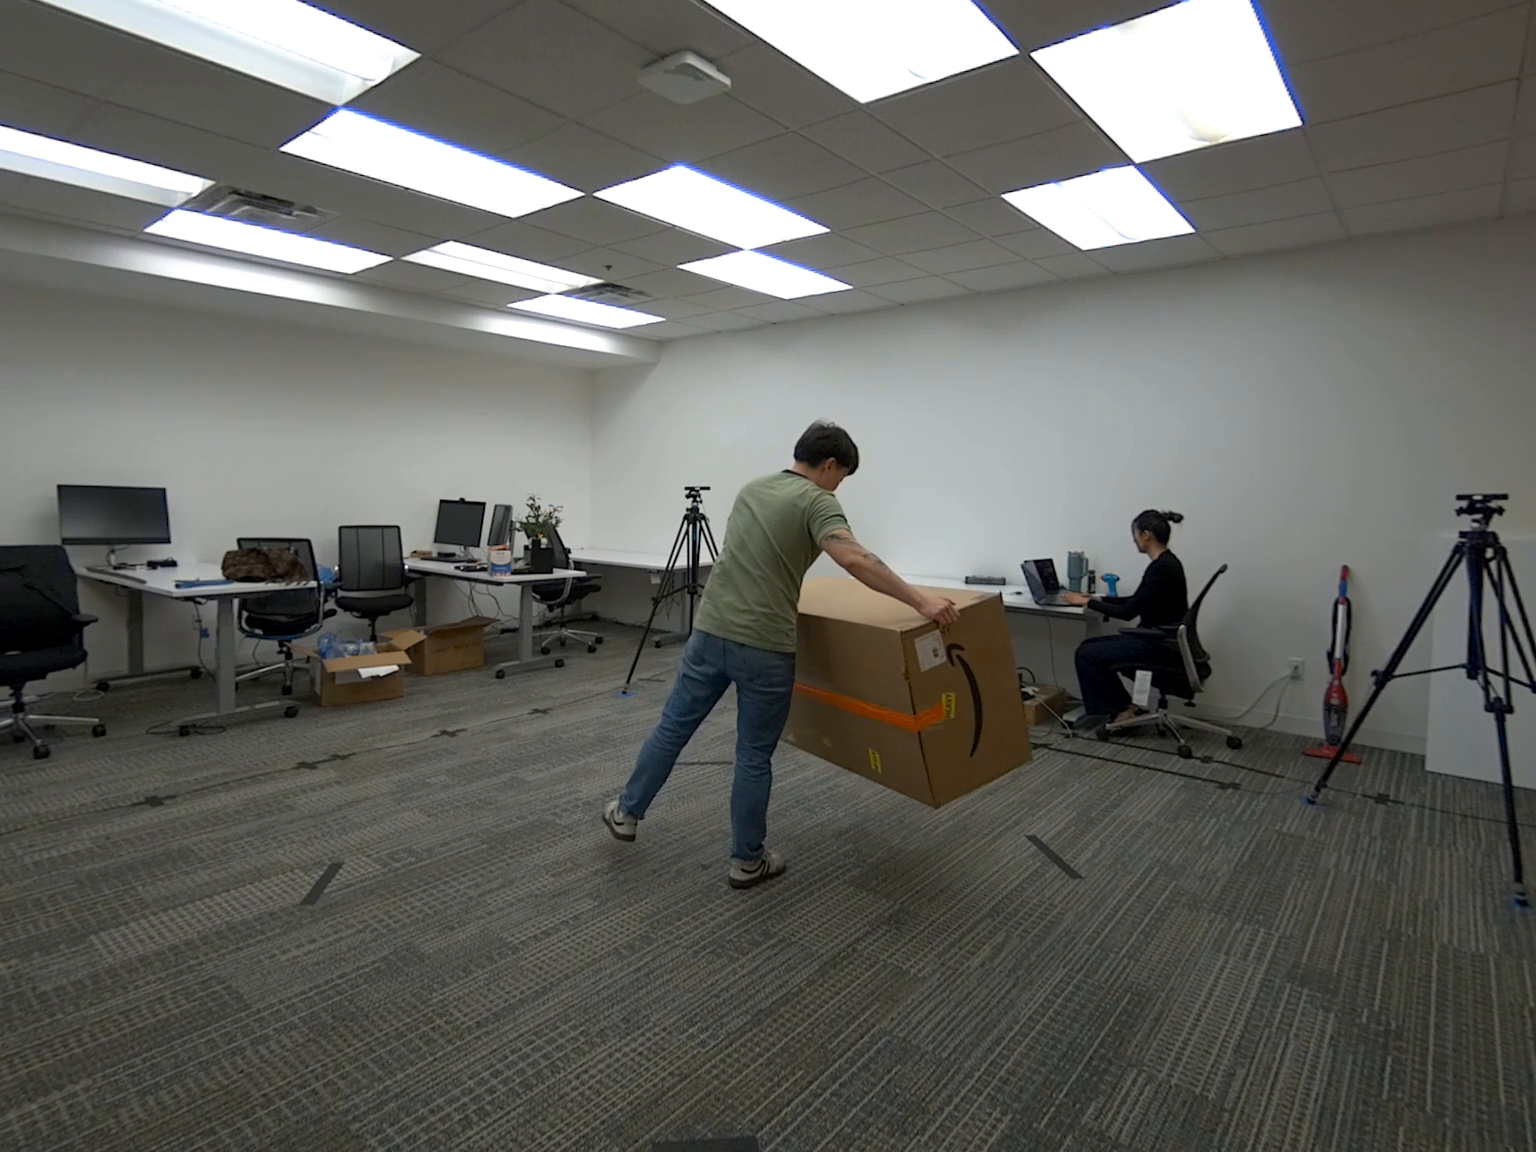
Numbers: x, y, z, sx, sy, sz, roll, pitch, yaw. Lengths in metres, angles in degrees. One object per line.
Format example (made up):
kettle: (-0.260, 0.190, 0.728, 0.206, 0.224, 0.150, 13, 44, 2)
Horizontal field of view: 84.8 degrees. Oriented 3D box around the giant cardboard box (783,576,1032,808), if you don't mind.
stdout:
giant cardboard box: (0.359, 0.354, 3.112, 0.418, 0.572, 1.054, -17, 10, -28)
